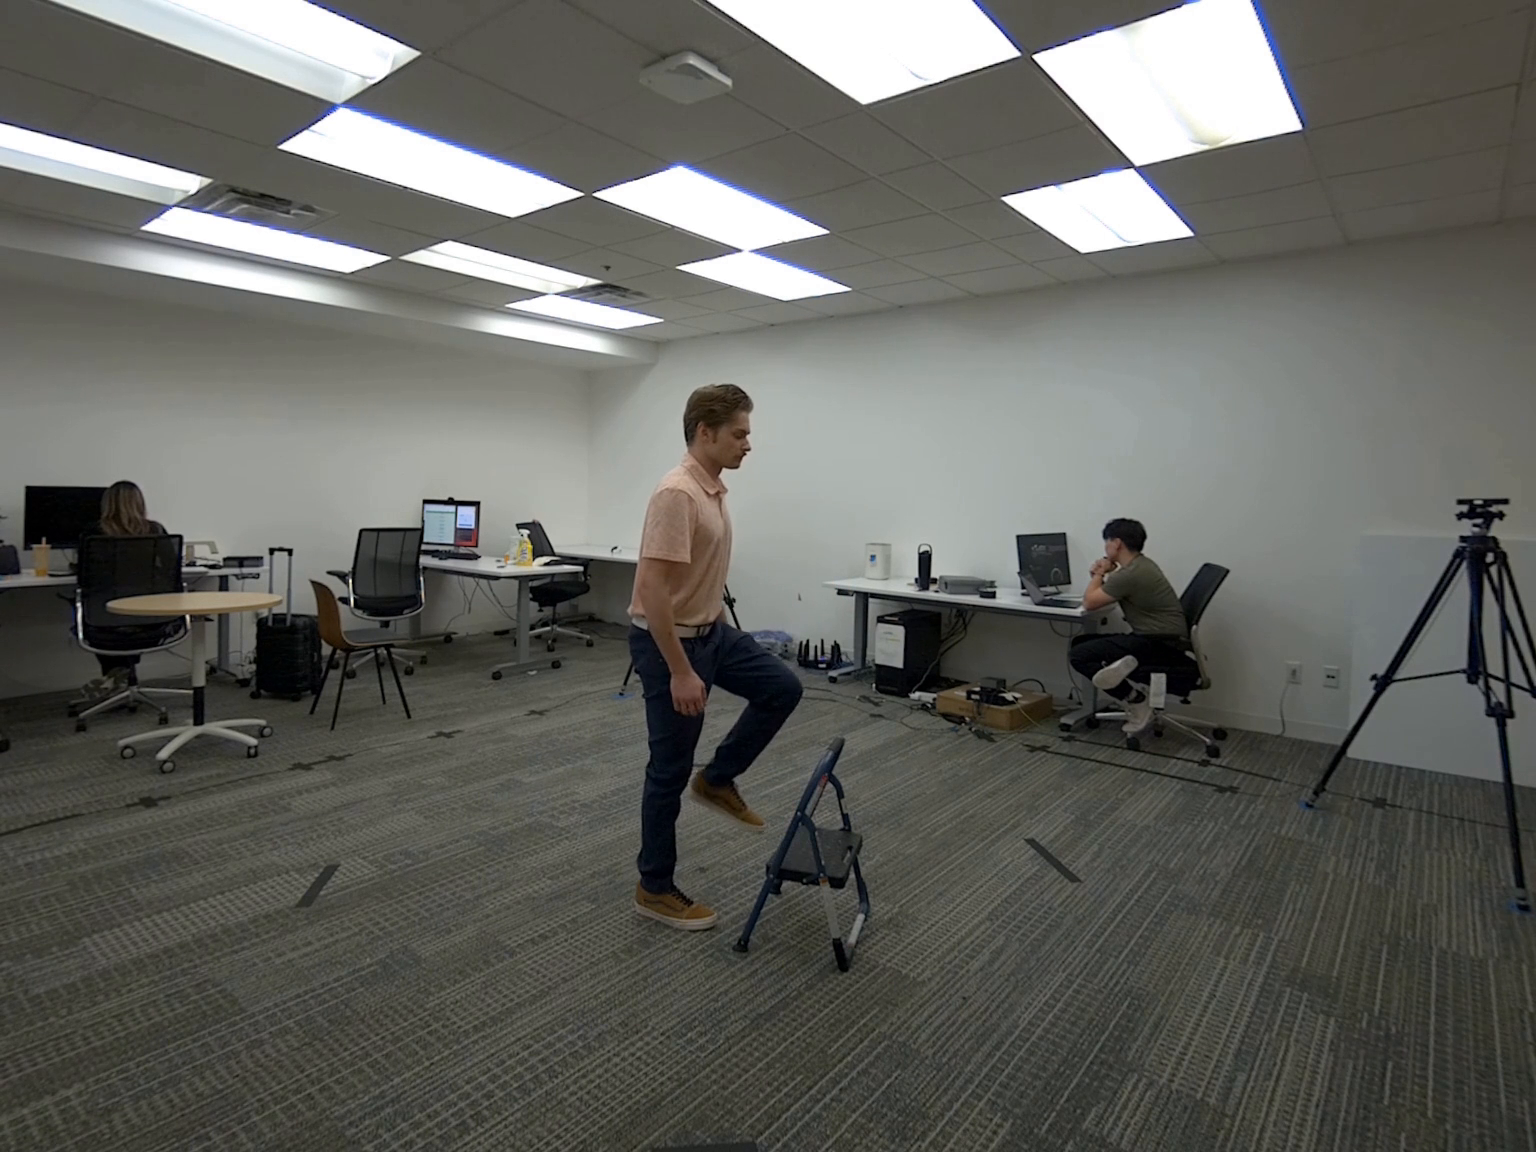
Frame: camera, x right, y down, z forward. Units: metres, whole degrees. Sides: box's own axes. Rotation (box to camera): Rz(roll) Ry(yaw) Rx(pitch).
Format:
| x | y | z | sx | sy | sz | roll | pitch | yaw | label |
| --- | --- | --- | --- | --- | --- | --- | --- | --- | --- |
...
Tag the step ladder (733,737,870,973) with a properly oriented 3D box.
| x | y | z | sx | sy | sz | roll | pitch | yaw | label |
| --- | --- | --- | --- | --- | --- | --- | --- | --- | --- |
| 0.123 | 0.815 | 2.685 | 0.356 | 0.604 | 0.424 | 3 | 4 | 17 | step ladder |
